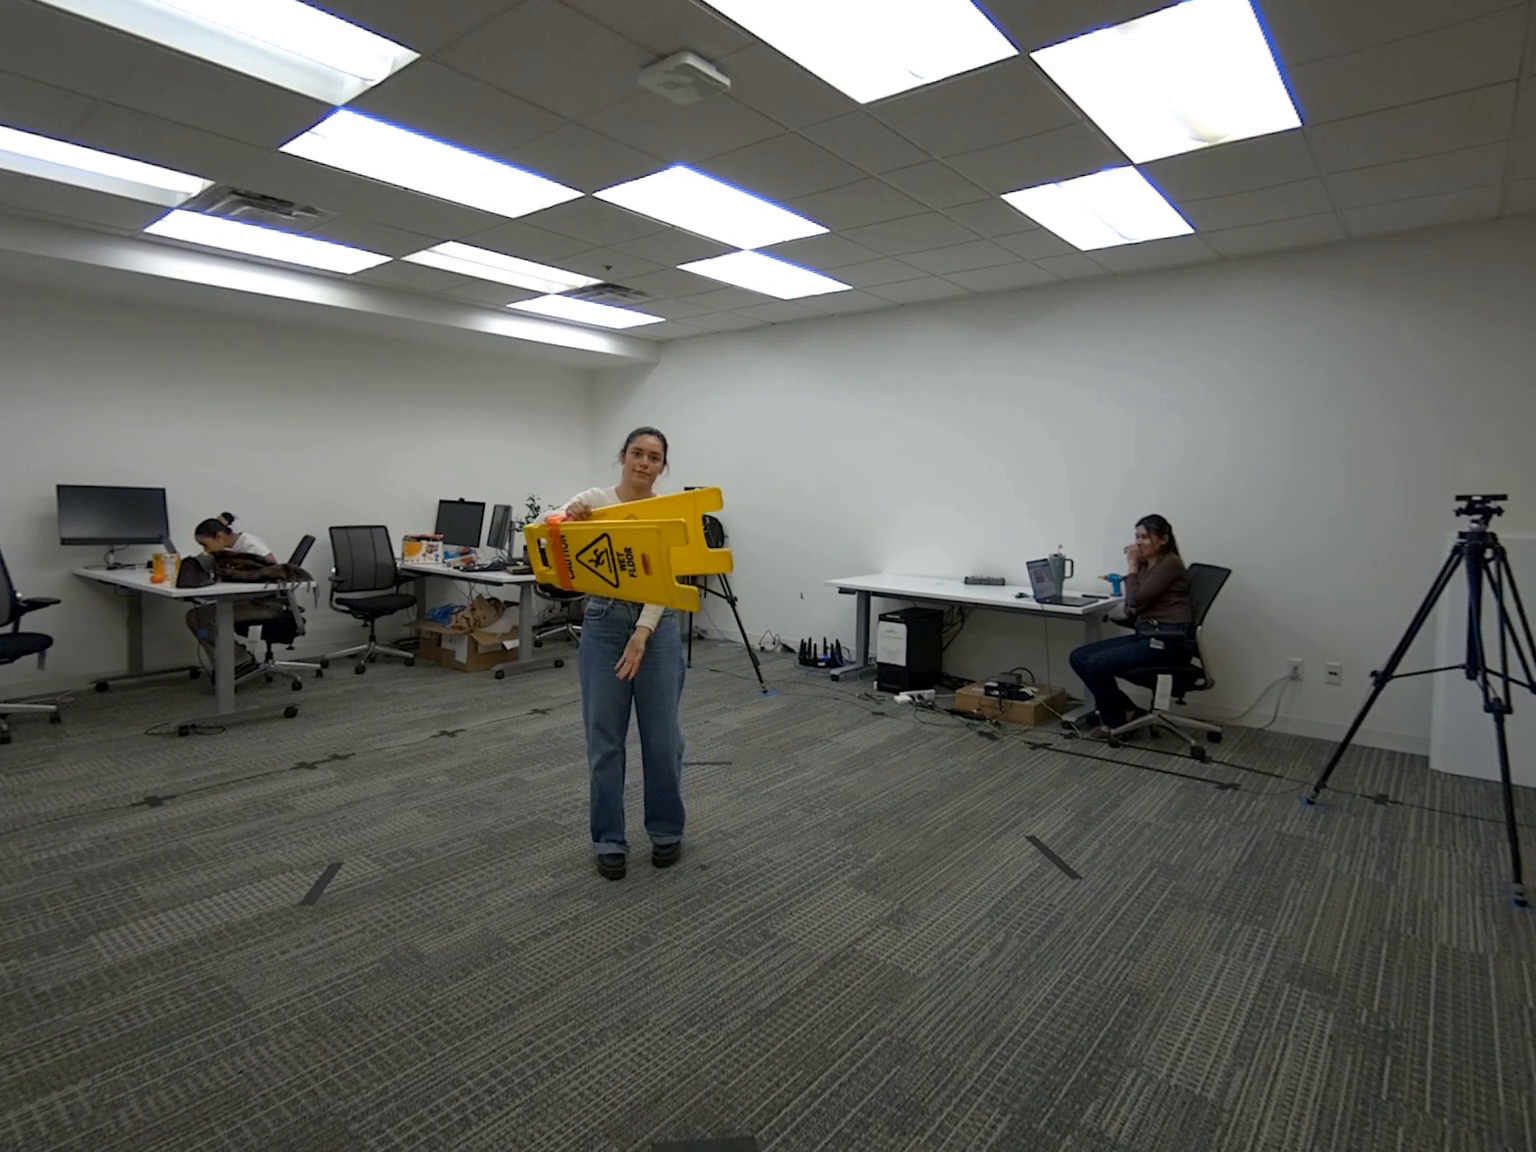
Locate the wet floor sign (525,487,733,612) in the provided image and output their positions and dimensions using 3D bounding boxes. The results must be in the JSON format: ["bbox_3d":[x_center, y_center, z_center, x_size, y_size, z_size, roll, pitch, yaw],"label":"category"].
[{"bbox_3d":[-0.479,-0.081,2.646,0.659,0.276,0.290,-3,21,20],"label":"wet floor sign"}]
